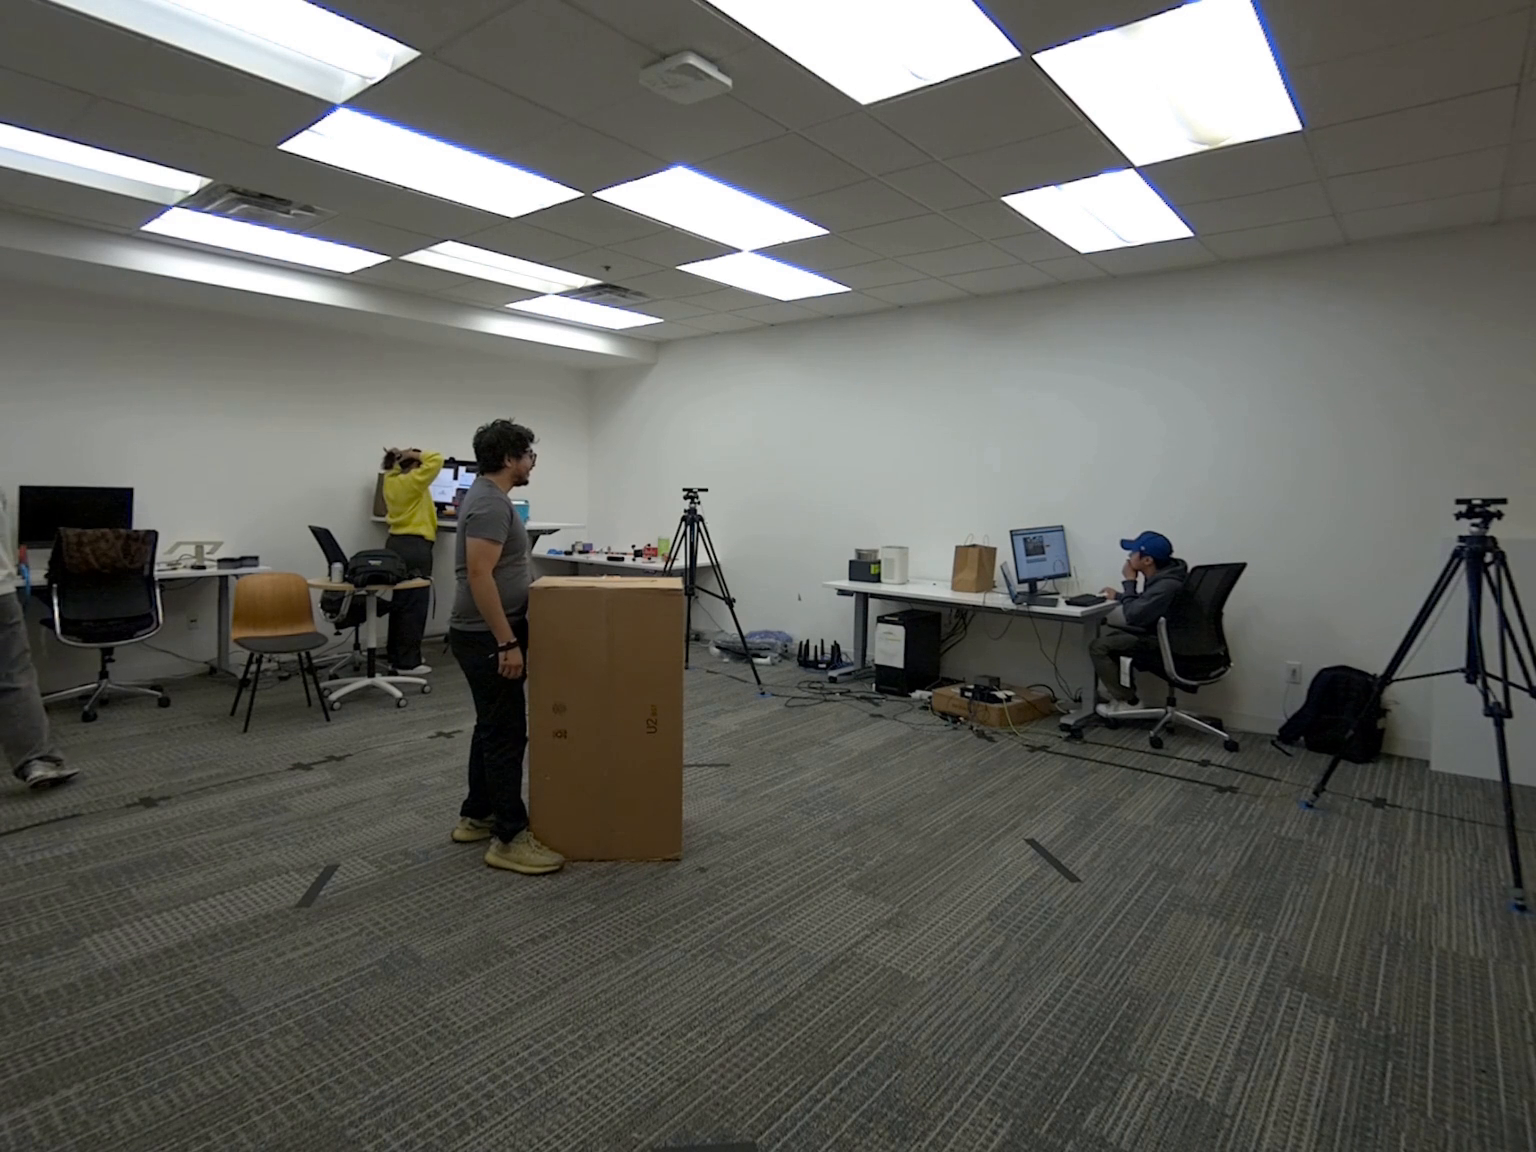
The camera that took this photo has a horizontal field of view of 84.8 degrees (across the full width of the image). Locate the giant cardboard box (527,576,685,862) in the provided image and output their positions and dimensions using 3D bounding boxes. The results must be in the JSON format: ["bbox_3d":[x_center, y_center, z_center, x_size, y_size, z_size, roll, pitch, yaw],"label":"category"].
[{"bbox_3d":[-0.628,0.542,3.360,0.581,1.024,0.450,1,3,-5],"label":"giant cardboard box"}]
